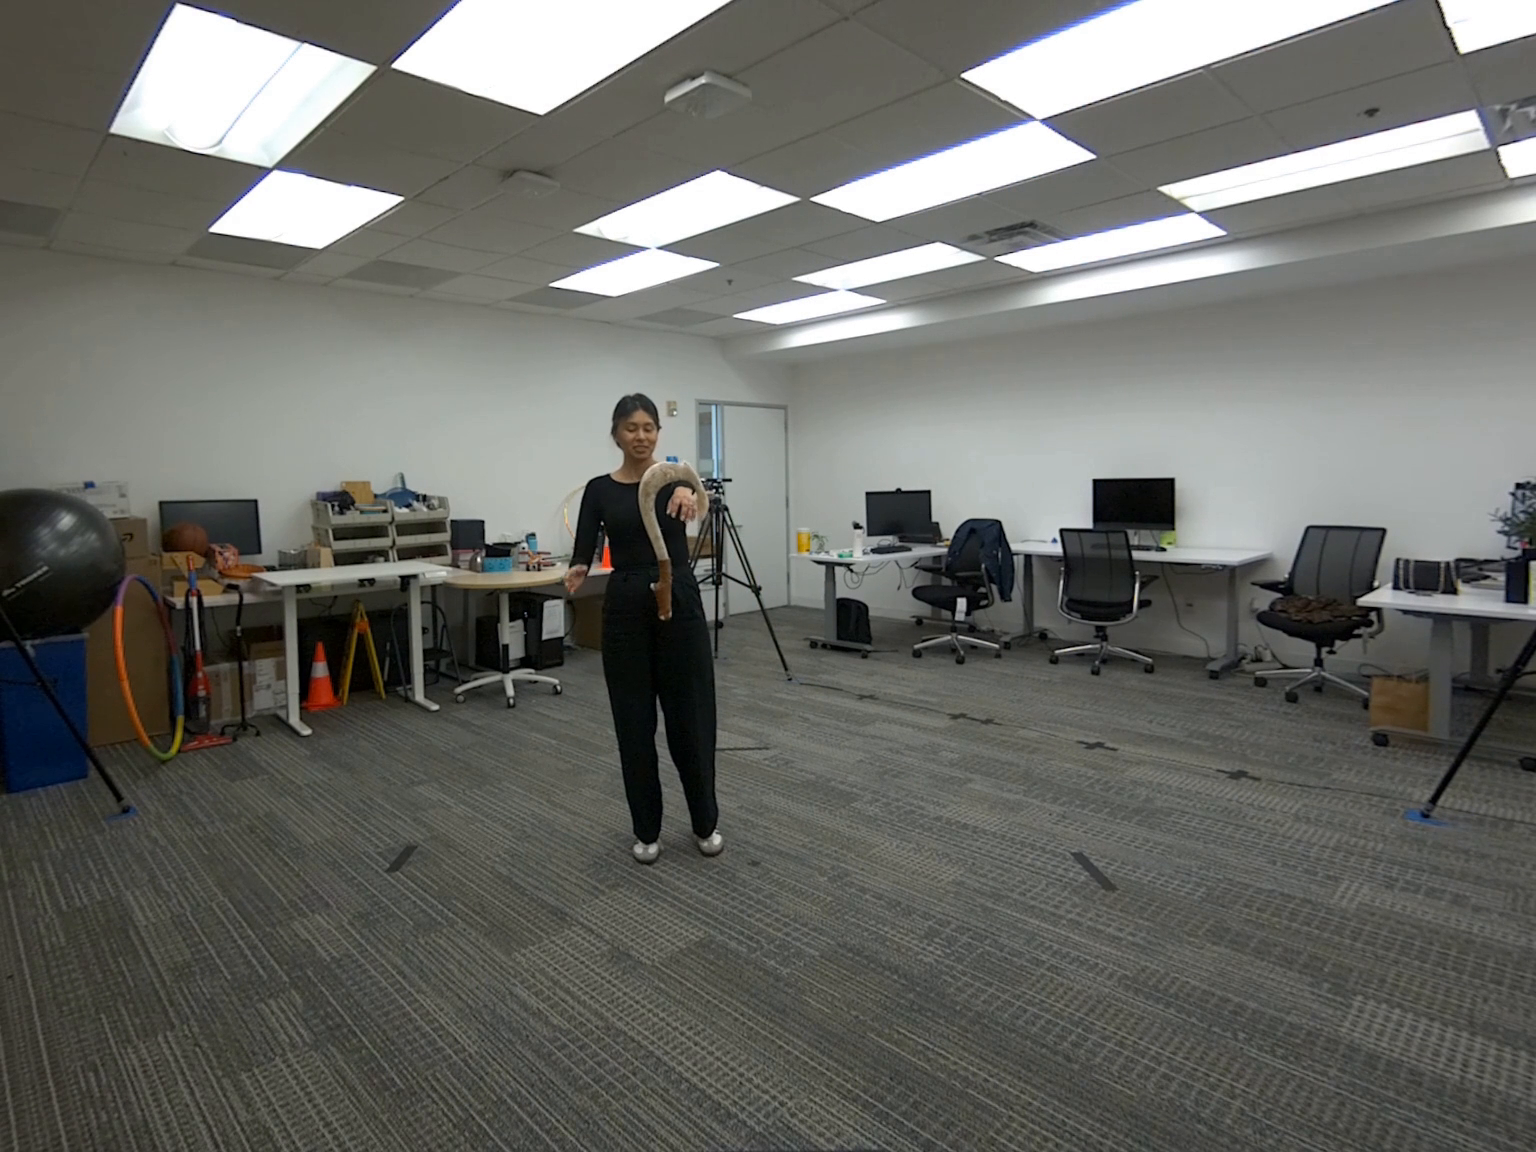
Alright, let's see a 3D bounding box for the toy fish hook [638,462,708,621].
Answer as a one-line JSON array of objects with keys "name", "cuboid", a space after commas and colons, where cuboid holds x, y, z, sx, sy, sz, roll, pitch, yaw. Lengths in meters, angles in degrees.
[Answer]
[{"name": "toy fish hook", "cuboid": [-0.285, -0.107, 2.737, 0.223, 0.504, 0.049, -3, 5, -8]}]
